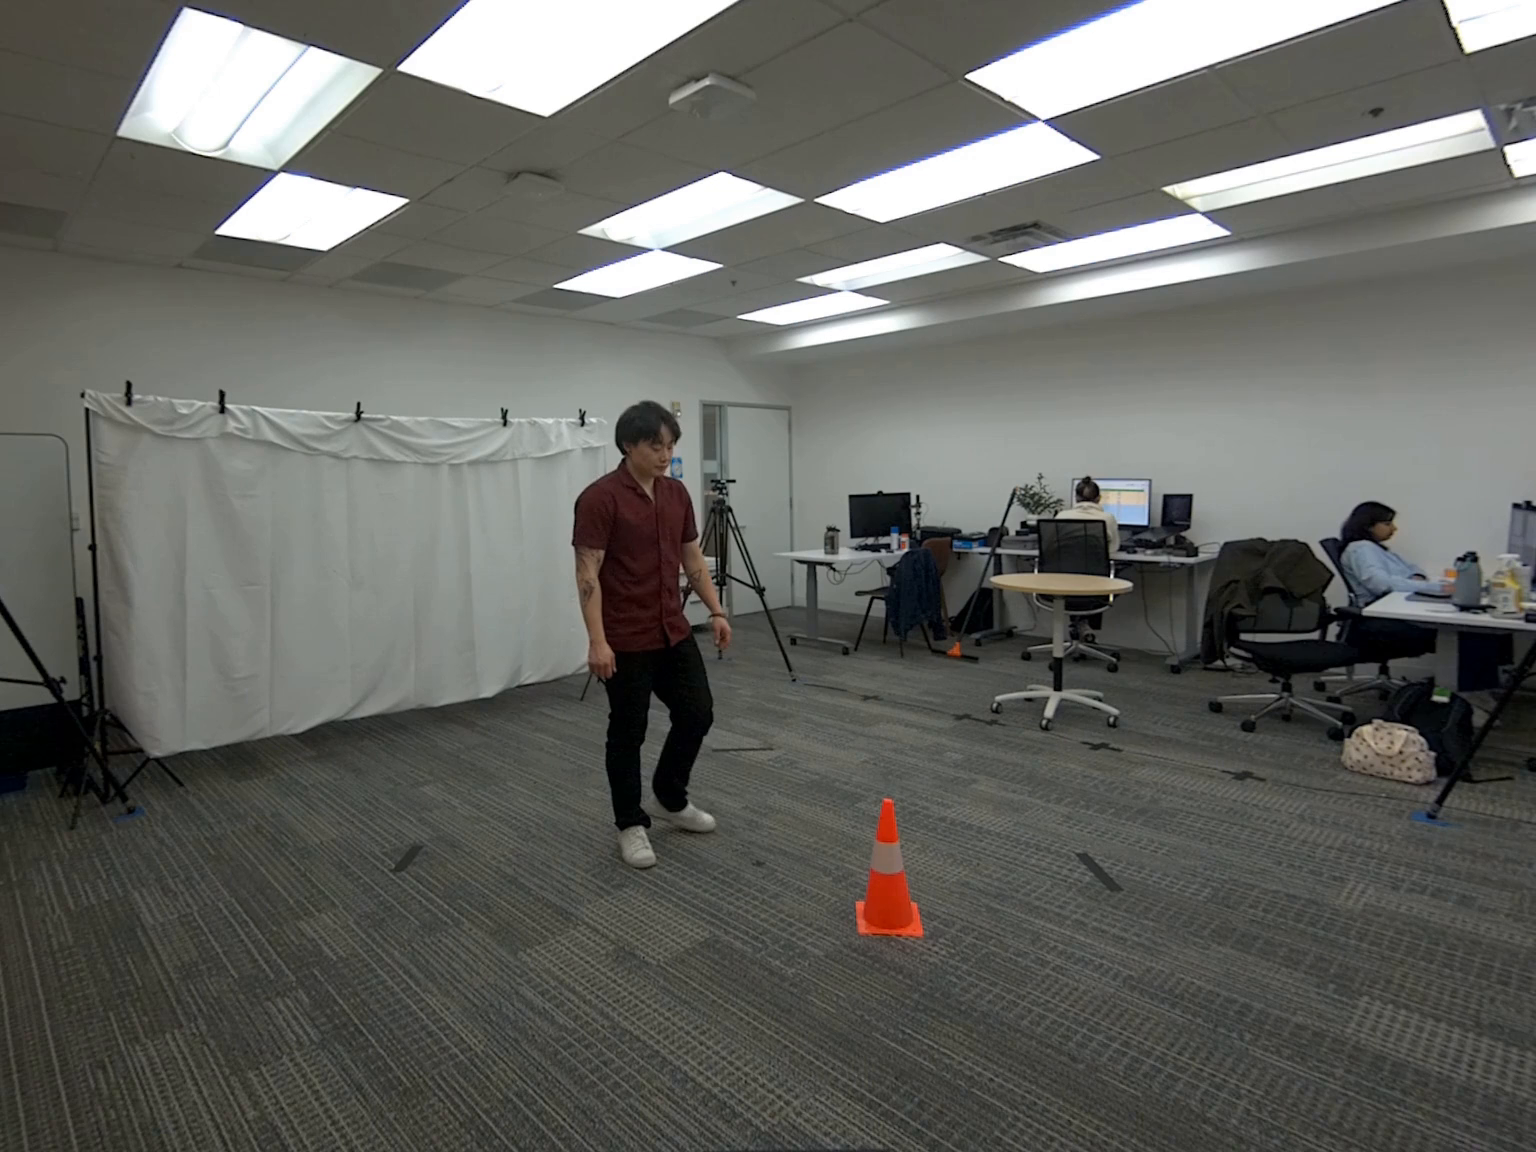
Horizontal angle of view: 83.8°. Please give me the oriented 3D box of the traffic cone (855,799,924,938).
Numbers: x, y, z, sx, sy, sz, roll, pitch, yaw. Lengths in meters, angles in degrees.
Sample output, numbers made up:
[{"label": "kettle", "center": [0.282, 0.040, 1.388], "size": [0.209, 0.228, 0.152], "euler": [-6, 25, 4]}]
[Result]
[{"label": "traffic cone", "center": [0.389, 0.901, 2.694], "size": [0.206, 0.382, 0.203], "euler": [-1, 5, 6]}]
